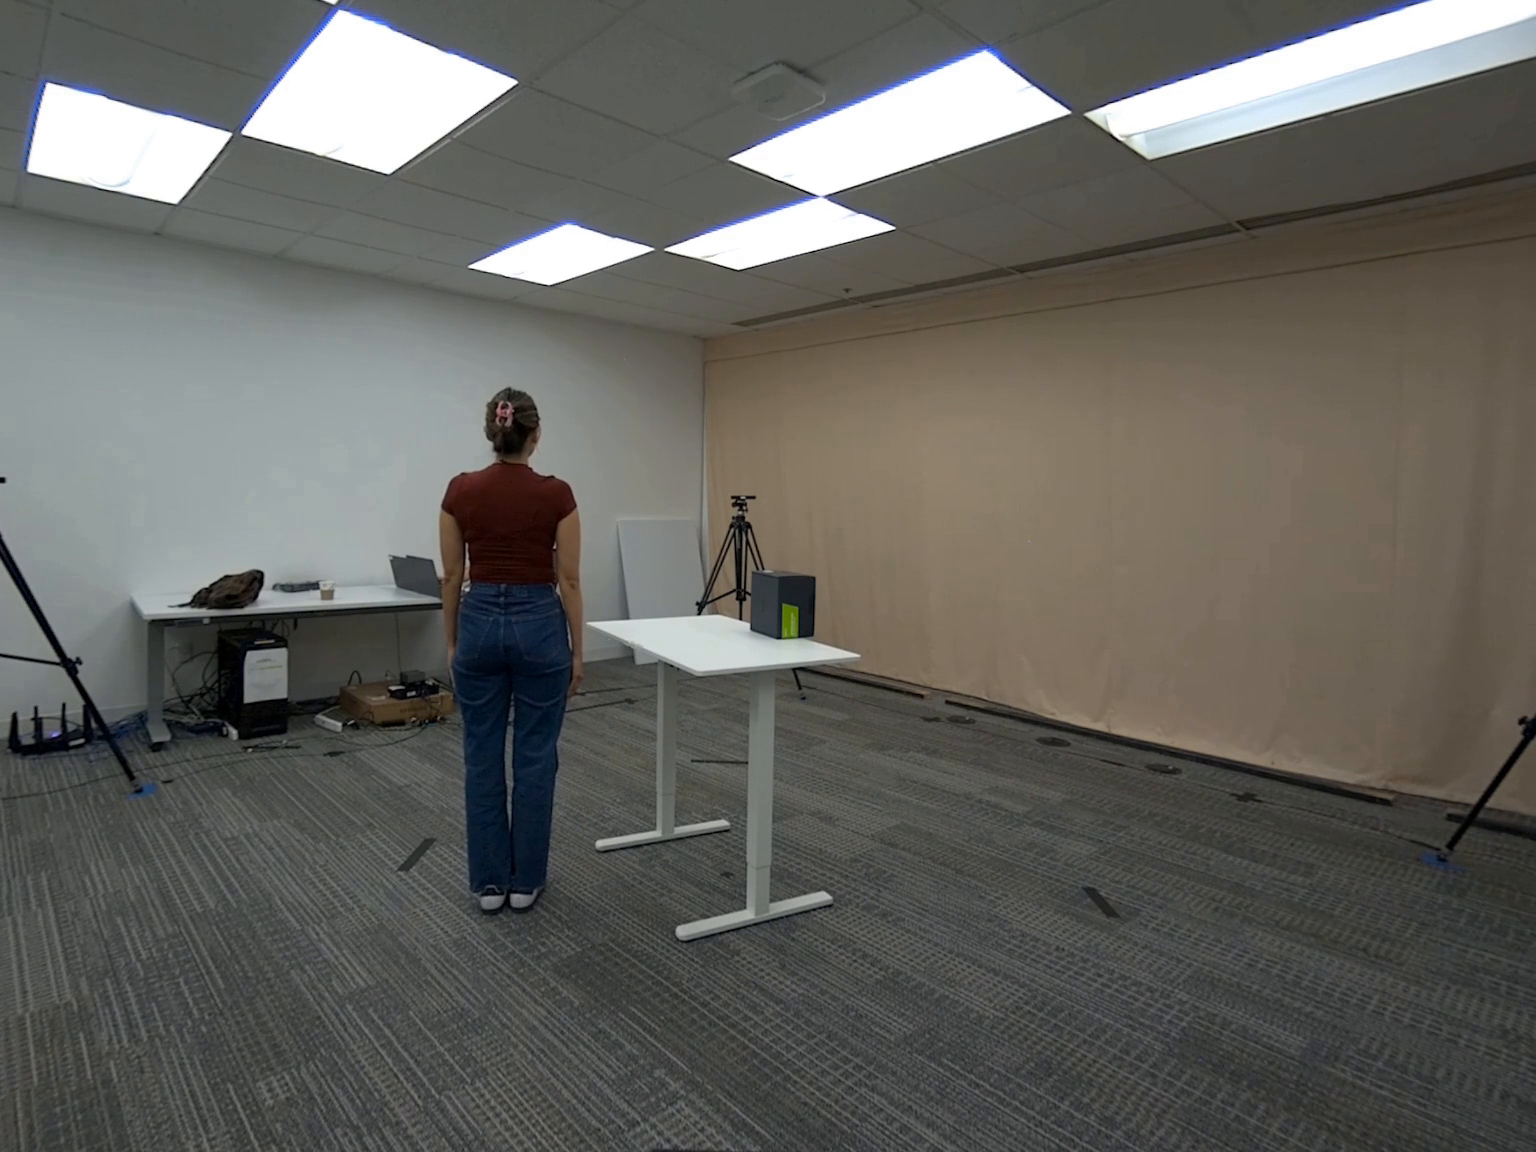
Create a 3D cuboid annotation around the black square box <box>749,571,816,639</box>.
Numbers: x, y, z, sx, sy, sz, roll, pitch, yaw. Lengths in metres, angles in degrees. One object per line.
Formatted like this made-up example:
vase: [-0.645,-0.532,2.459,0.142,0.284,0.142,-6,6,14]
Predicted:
black square box: [0.045,0.103,3.147,0.153,0.227,0.222,-1,5,-29]
